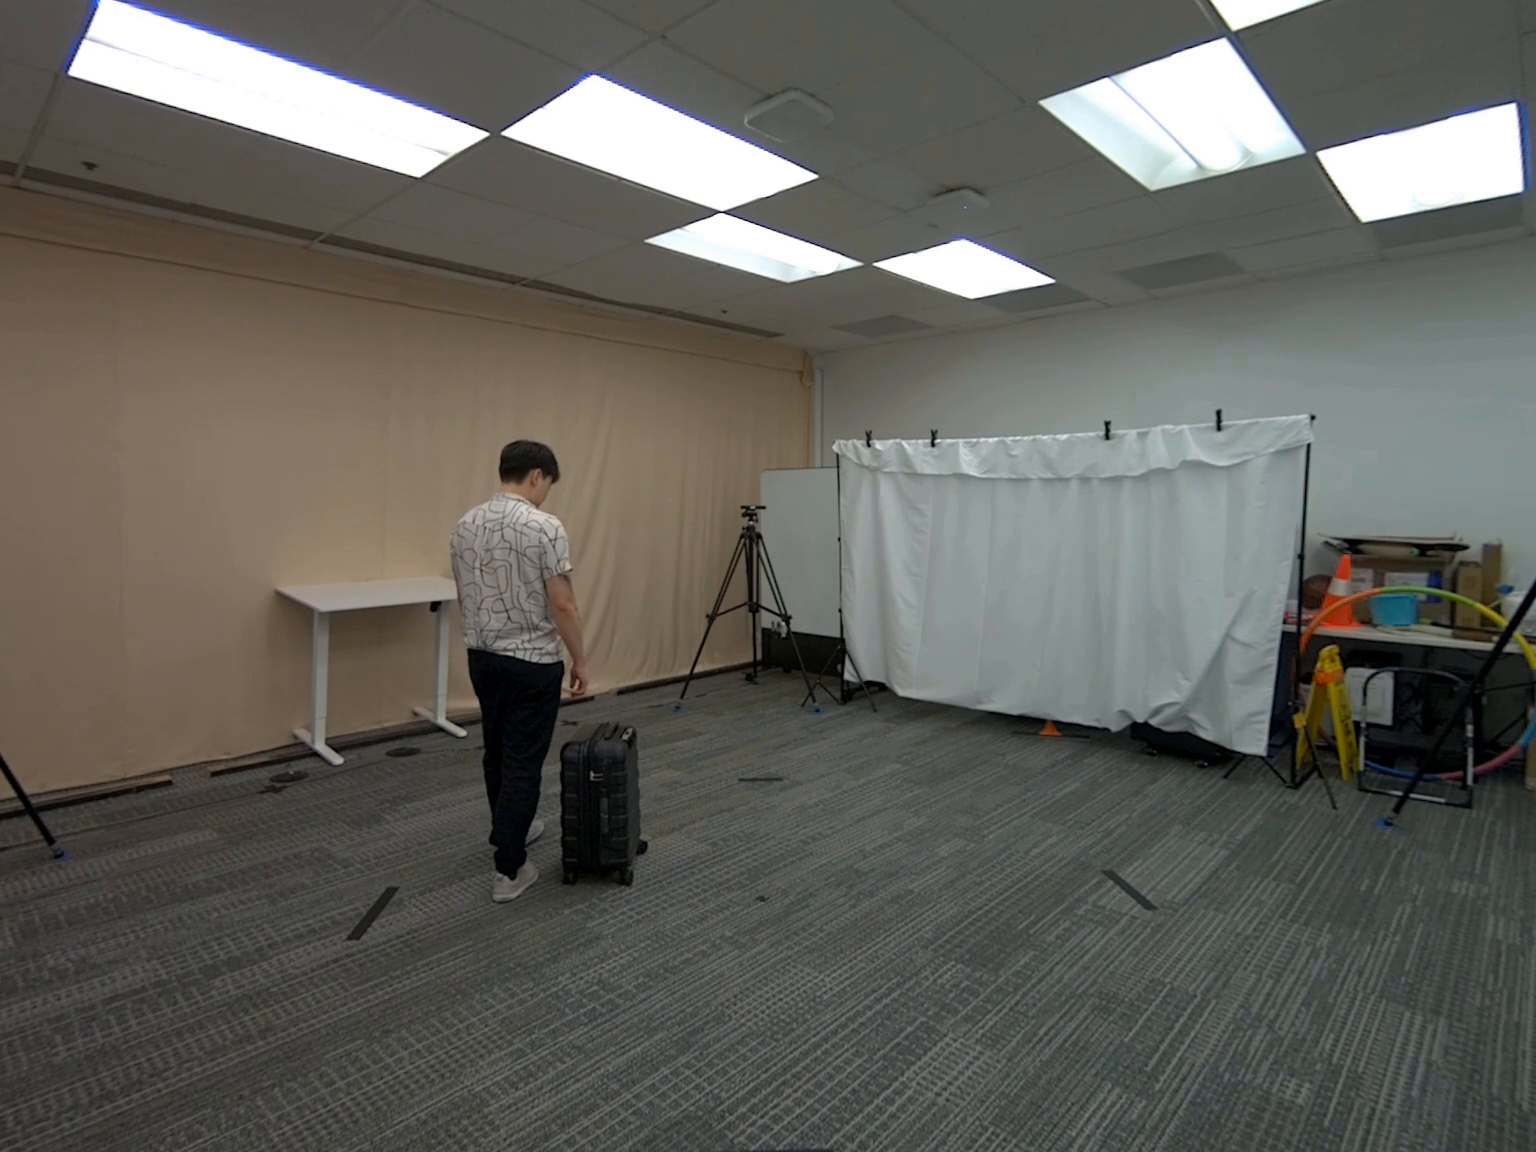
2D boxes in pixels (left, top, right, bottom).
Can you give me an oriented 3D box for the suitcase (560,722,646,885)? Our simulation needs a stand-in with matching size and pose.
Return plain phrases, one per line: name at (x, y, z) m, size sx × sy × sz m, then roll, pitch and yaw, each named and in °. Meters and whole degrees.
suitcase at (-0.637, 0.854, 3.219) m, size 0.249 × 0.548 × 0.375 m, roll -1°, pitch 4°, yaw 1°
